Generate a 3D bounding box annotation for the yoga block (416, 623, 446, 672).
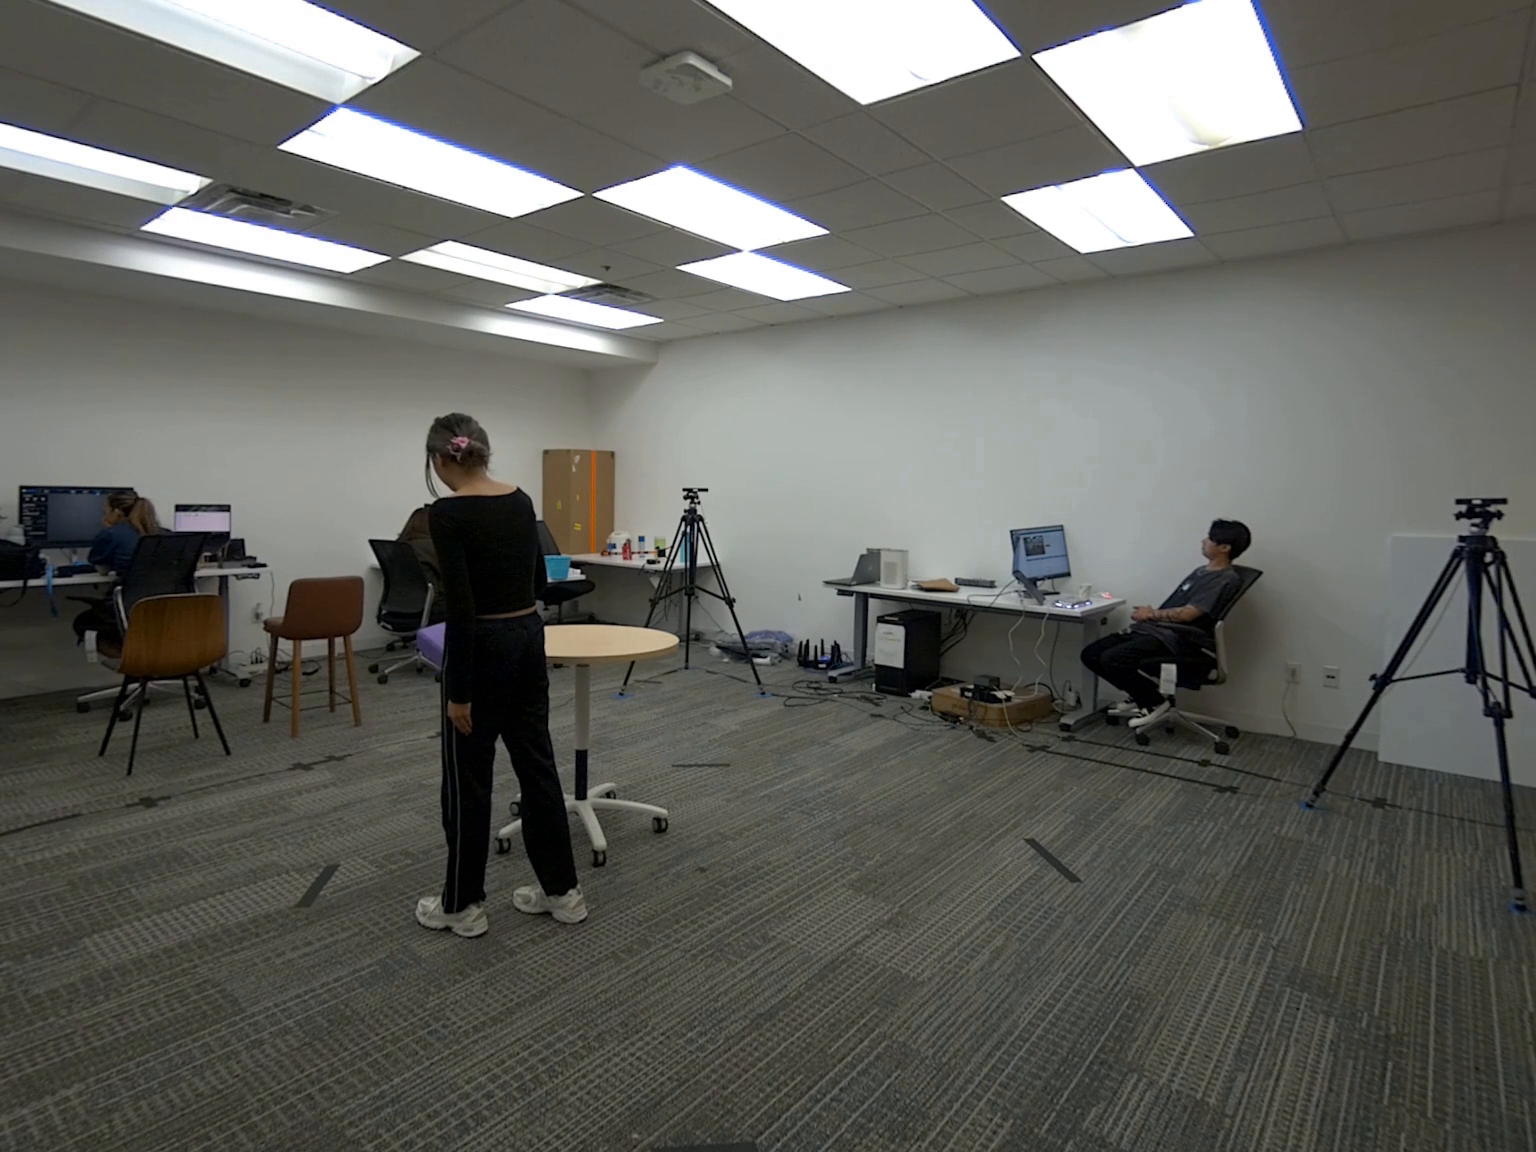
[{"bbox_3d":[-1.097,0.244,2.944,0.238,0.075,0.146,24,26,32],"label":"yoga block"}]
